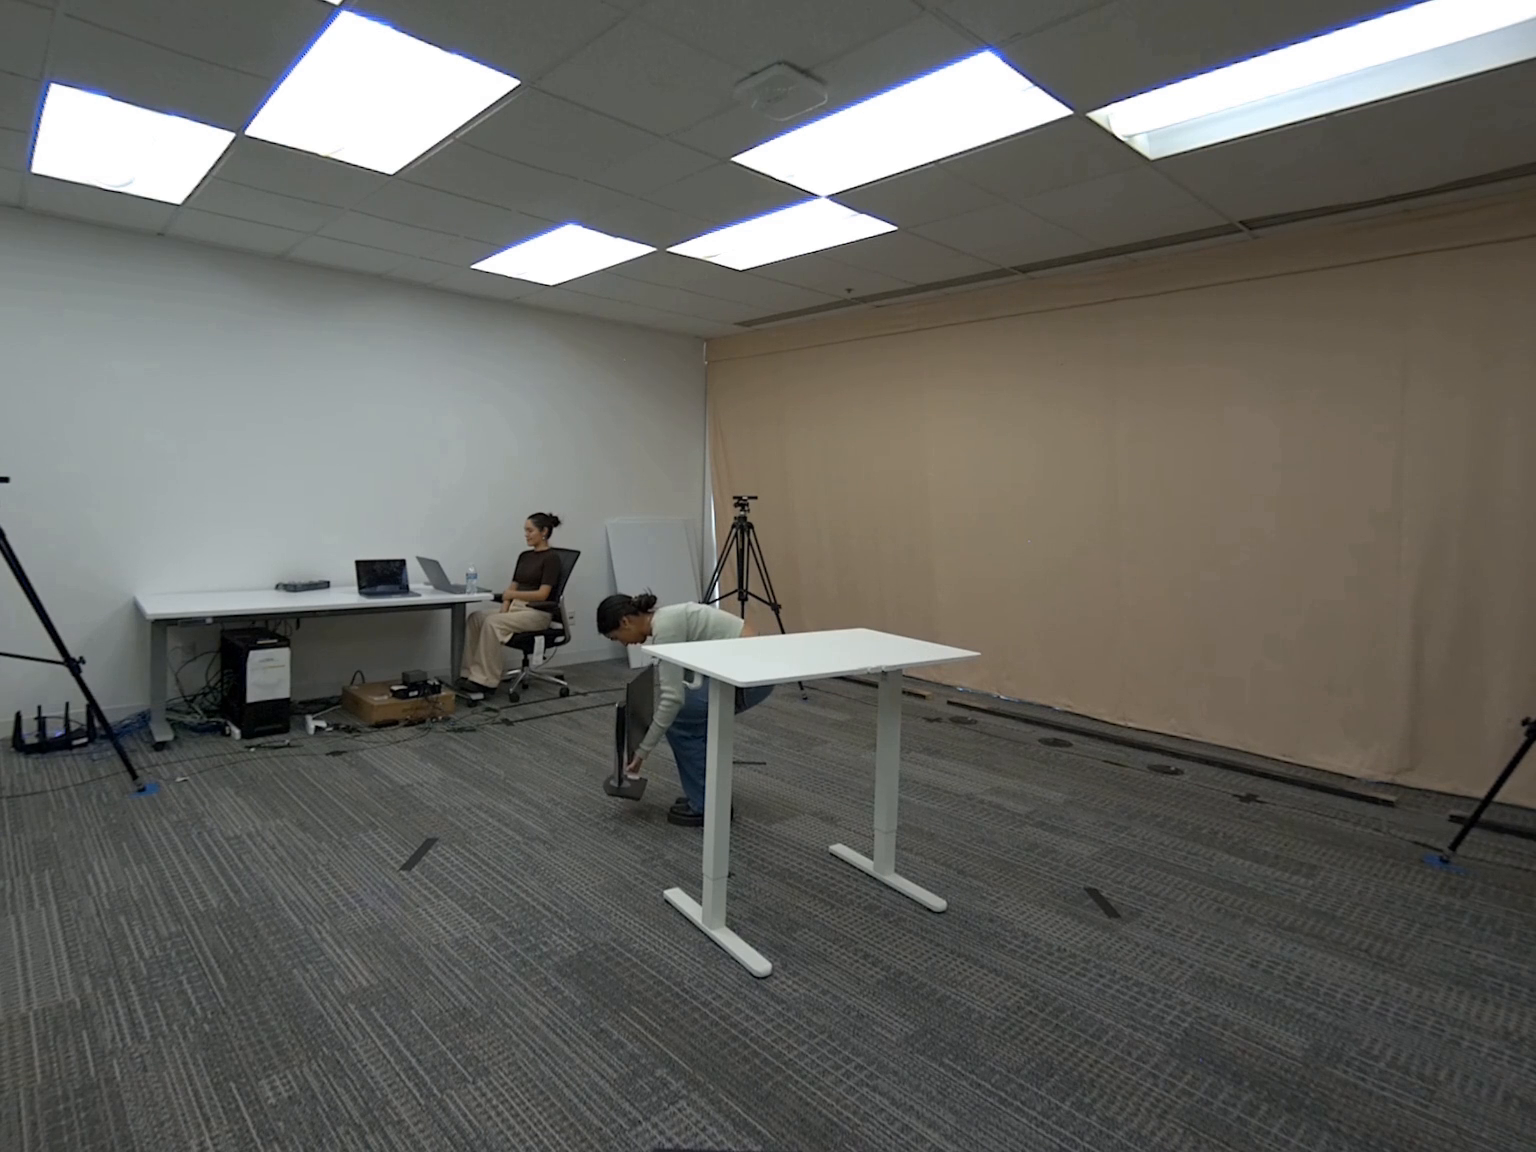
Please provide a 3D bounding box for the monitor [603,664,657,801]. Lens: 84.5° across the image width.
[{"bbox_3d":[-0.589,0.667,3.644,0.187,0.521,0.540,9,4,-1],"label":"monitor"}]
